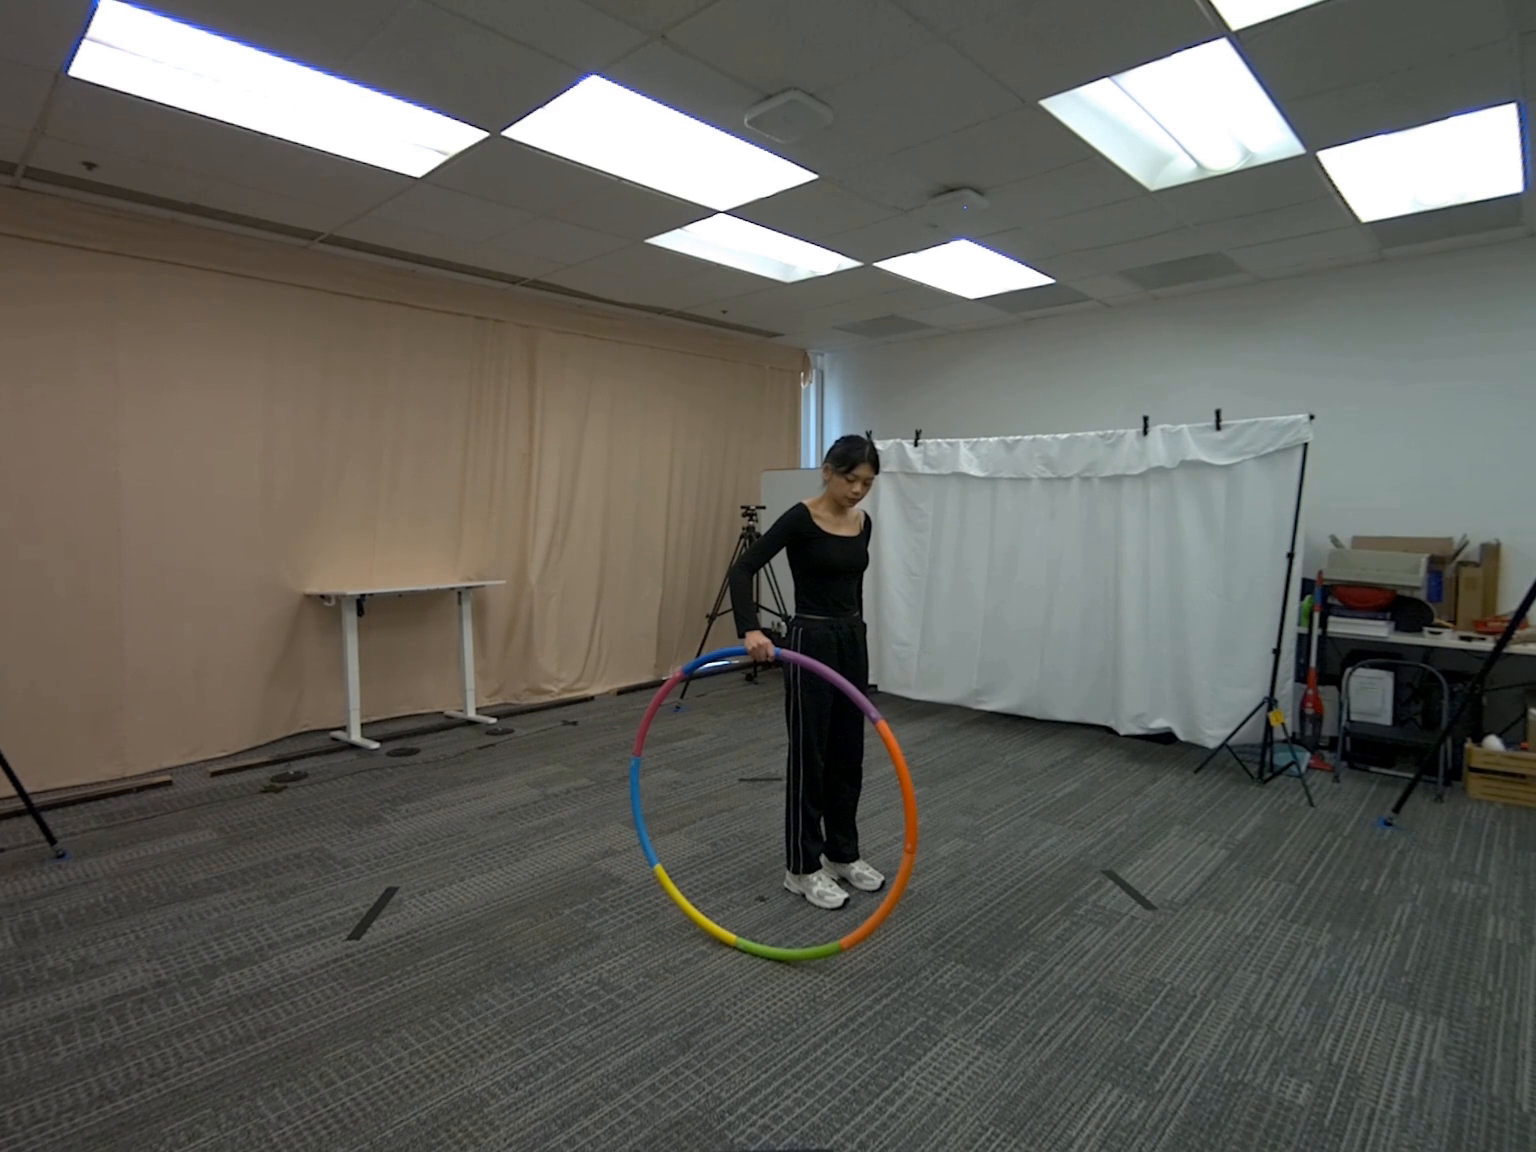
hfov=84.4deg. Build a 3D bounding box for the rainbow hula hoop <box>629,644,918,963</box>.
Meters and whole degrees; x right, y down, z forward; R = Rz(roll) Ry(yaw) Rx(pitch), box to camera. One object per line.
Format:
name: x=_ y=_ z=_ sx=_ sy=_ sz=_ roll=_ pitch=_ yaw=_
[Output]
rainbow hula hoop: x=-0.025 y=0.696 z=2.633 sx=1.007 sy=0.979 sz=0.034 roll=2 pitch=-1 yaw=31
